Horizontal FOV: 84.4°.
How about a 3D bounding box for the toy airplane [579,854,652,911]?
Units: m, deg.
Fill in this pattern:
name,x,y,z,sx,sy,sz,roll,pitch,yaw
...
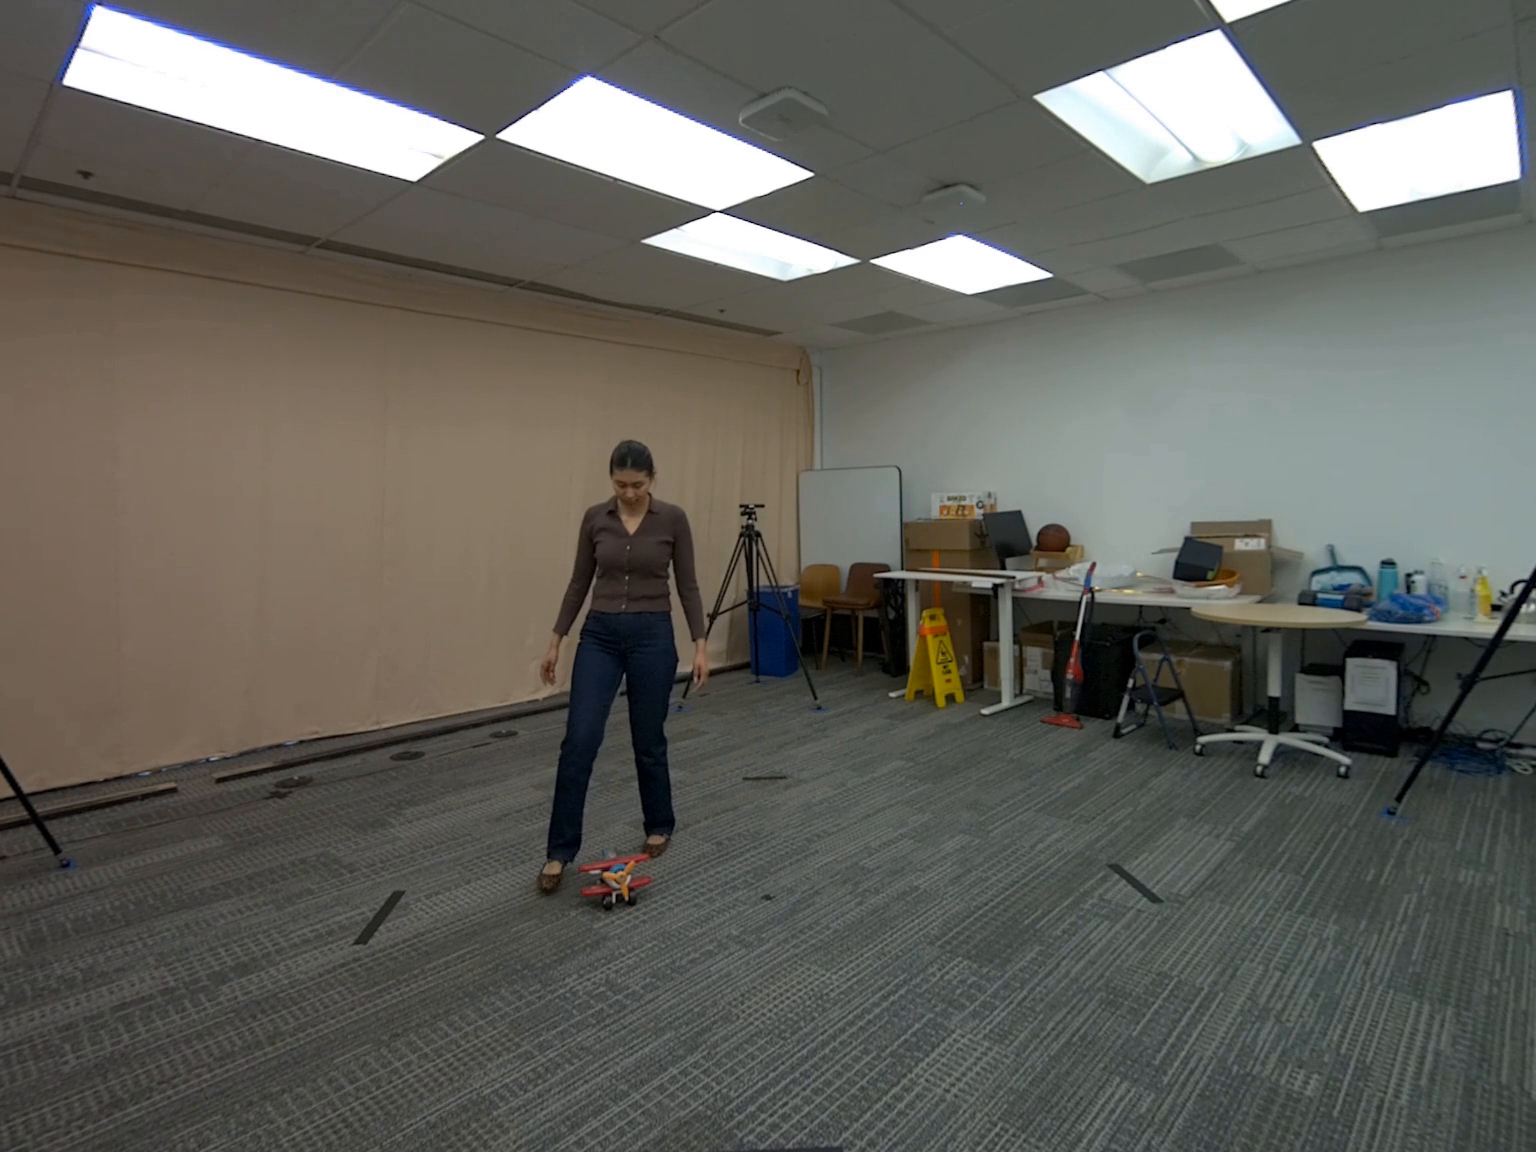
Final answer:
name,x,y,z,sx,sy,sz,roll,pitch,yaw
toy airplane,-0.568,1.072,3.011,0.268,0.156,0.244,3,7,39
